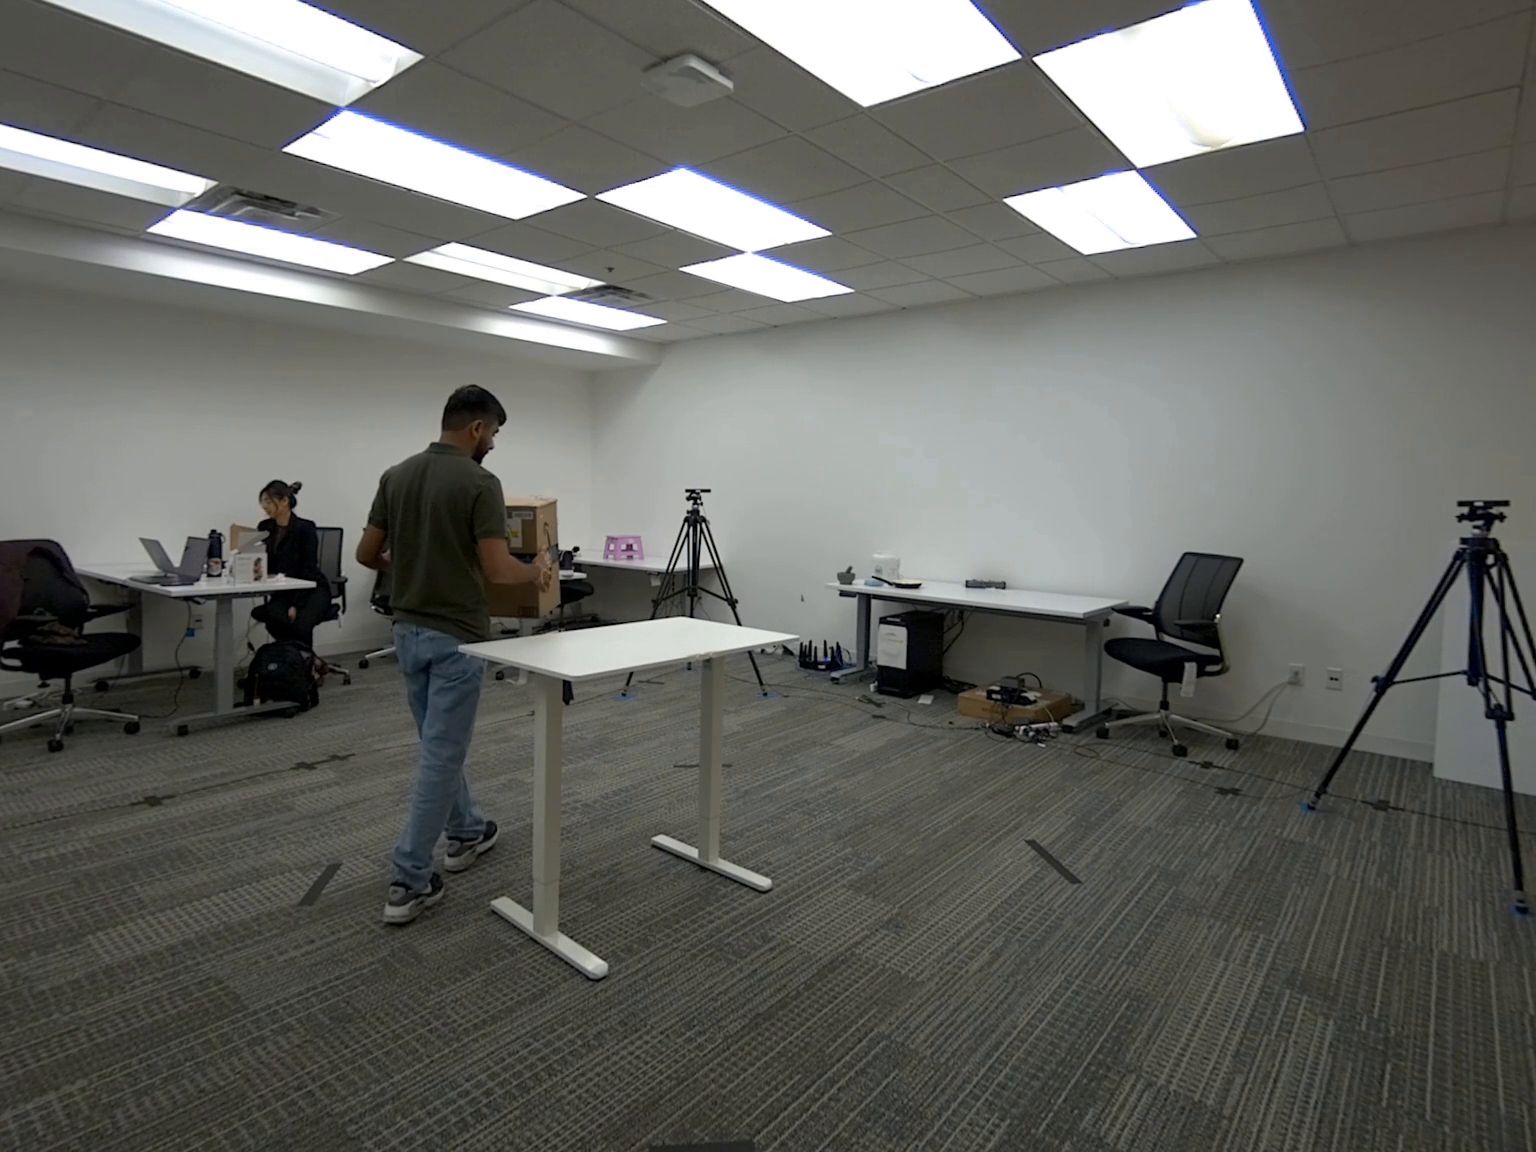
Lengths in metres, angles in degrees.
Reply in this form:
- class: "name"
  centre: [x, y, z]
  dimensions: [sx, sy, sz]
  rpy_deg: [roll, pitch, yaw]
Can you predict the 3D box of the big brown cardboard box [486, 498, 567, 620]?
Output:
- class: "big brown cardboard box"
  centre: [-1.104, -0.080, 3.217]
  dimensions: [0.596, 0.414, 0.232]
  rpy_deg: [1, 10, 11]
